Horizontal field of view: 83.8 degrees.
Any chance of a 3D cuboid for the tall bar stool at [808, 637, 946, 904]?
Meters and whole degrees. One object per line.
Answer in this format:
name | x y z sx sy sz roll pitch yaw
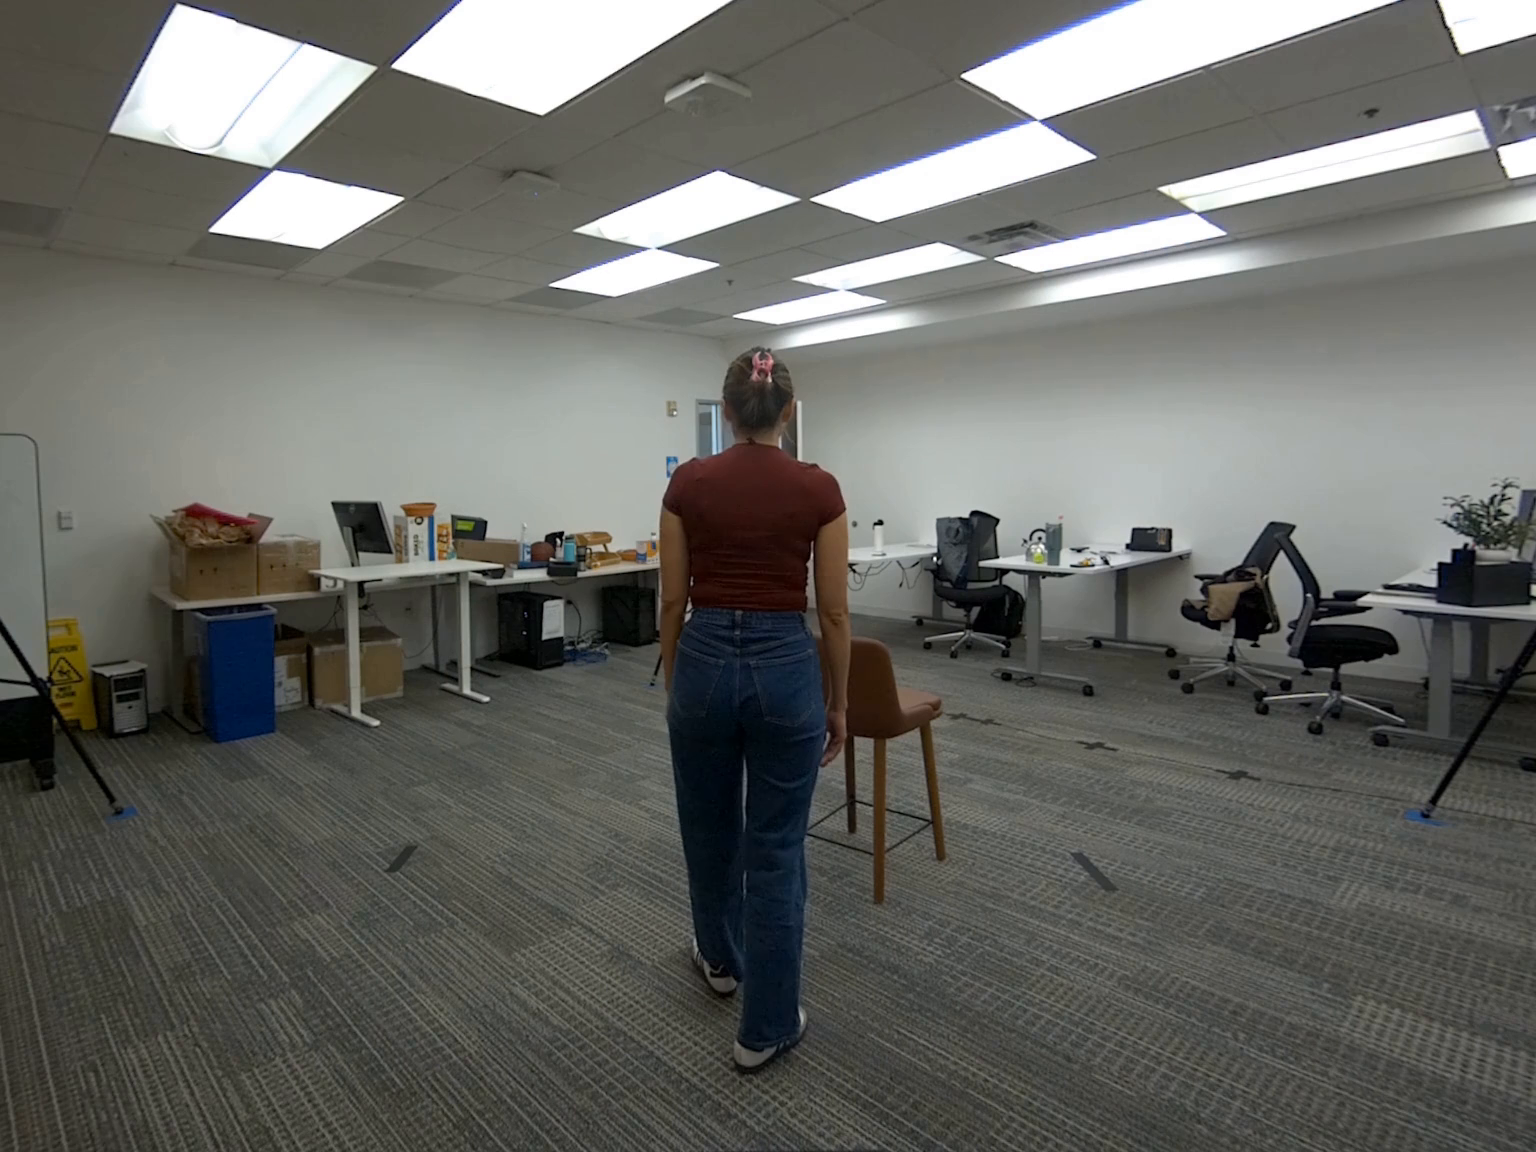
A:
tall bar stool | 0.344 0.609 3.044 0.470 0.885 0.456 3 7 39
